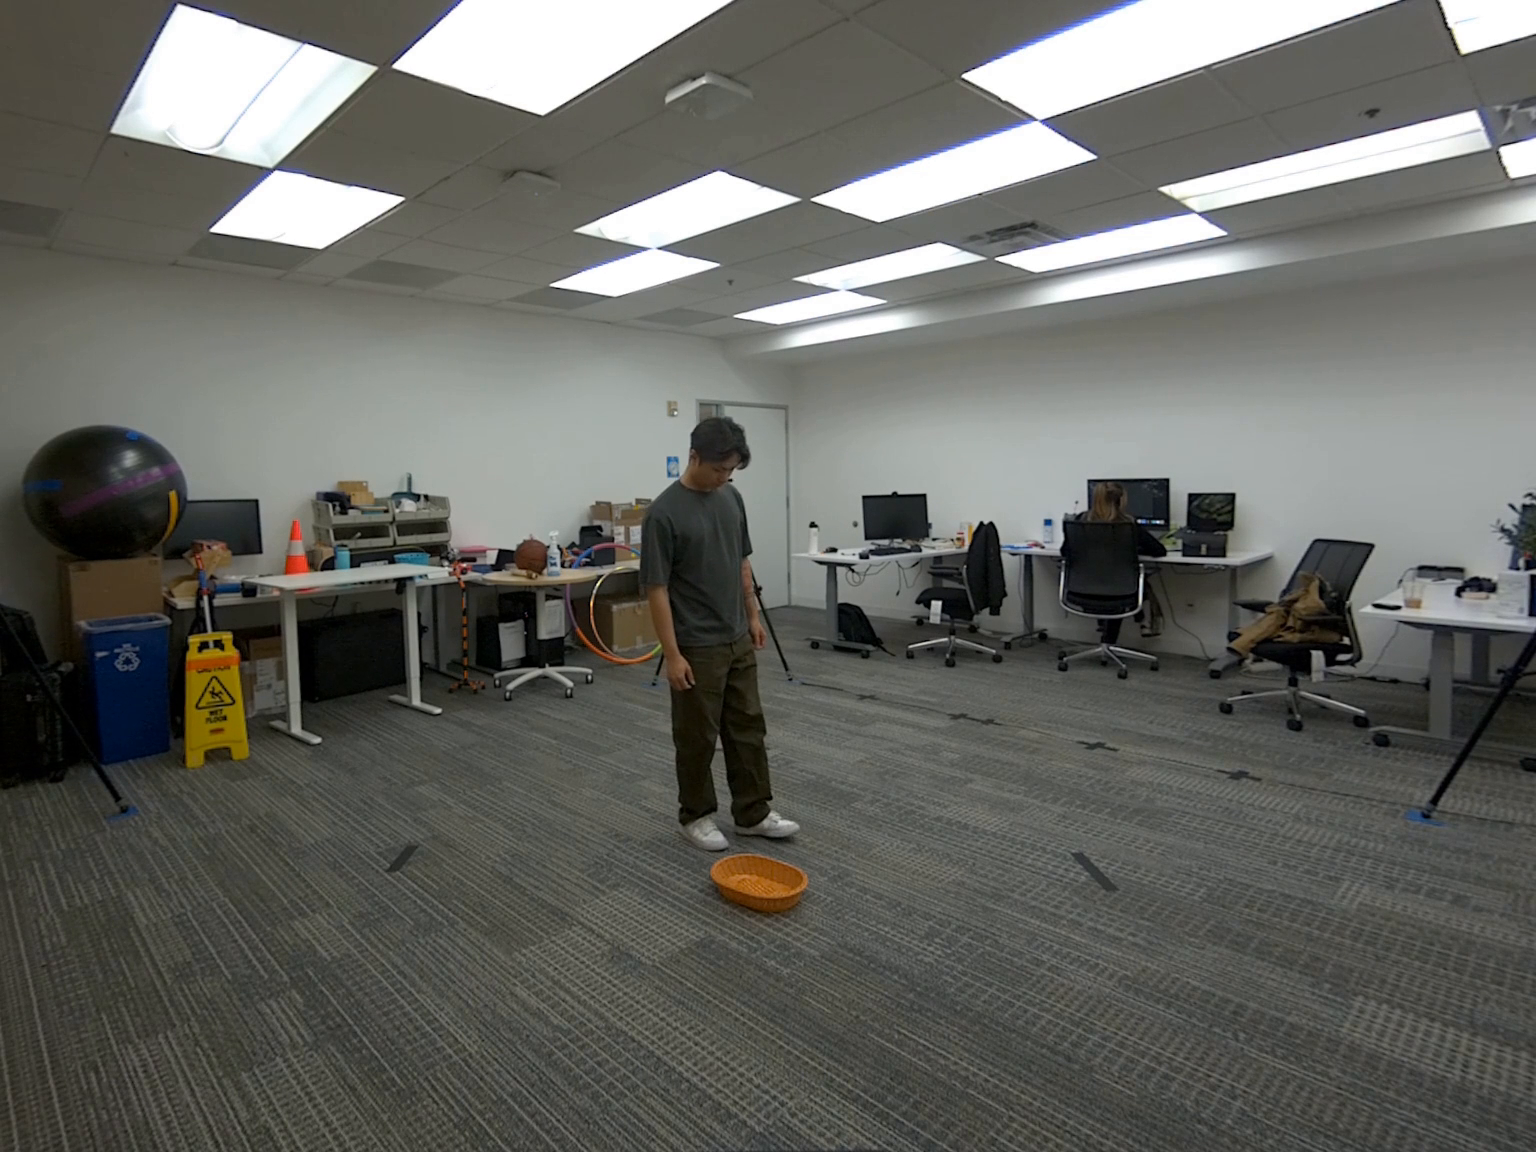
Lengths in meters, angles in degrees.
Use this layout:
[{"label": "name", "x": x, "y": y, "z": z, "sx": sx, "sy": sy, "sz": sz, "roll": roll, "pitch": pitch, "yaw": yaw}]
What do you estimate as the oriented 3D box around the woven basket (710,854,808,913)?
[{"label": "woven basket", "x": -0.034, "y": 1.036, "z": 2.870, "sx": 0.361, "sy": 0.073, "sz": 0.246, "roll": 4, "pitch": 9, "yaw": 40}]
